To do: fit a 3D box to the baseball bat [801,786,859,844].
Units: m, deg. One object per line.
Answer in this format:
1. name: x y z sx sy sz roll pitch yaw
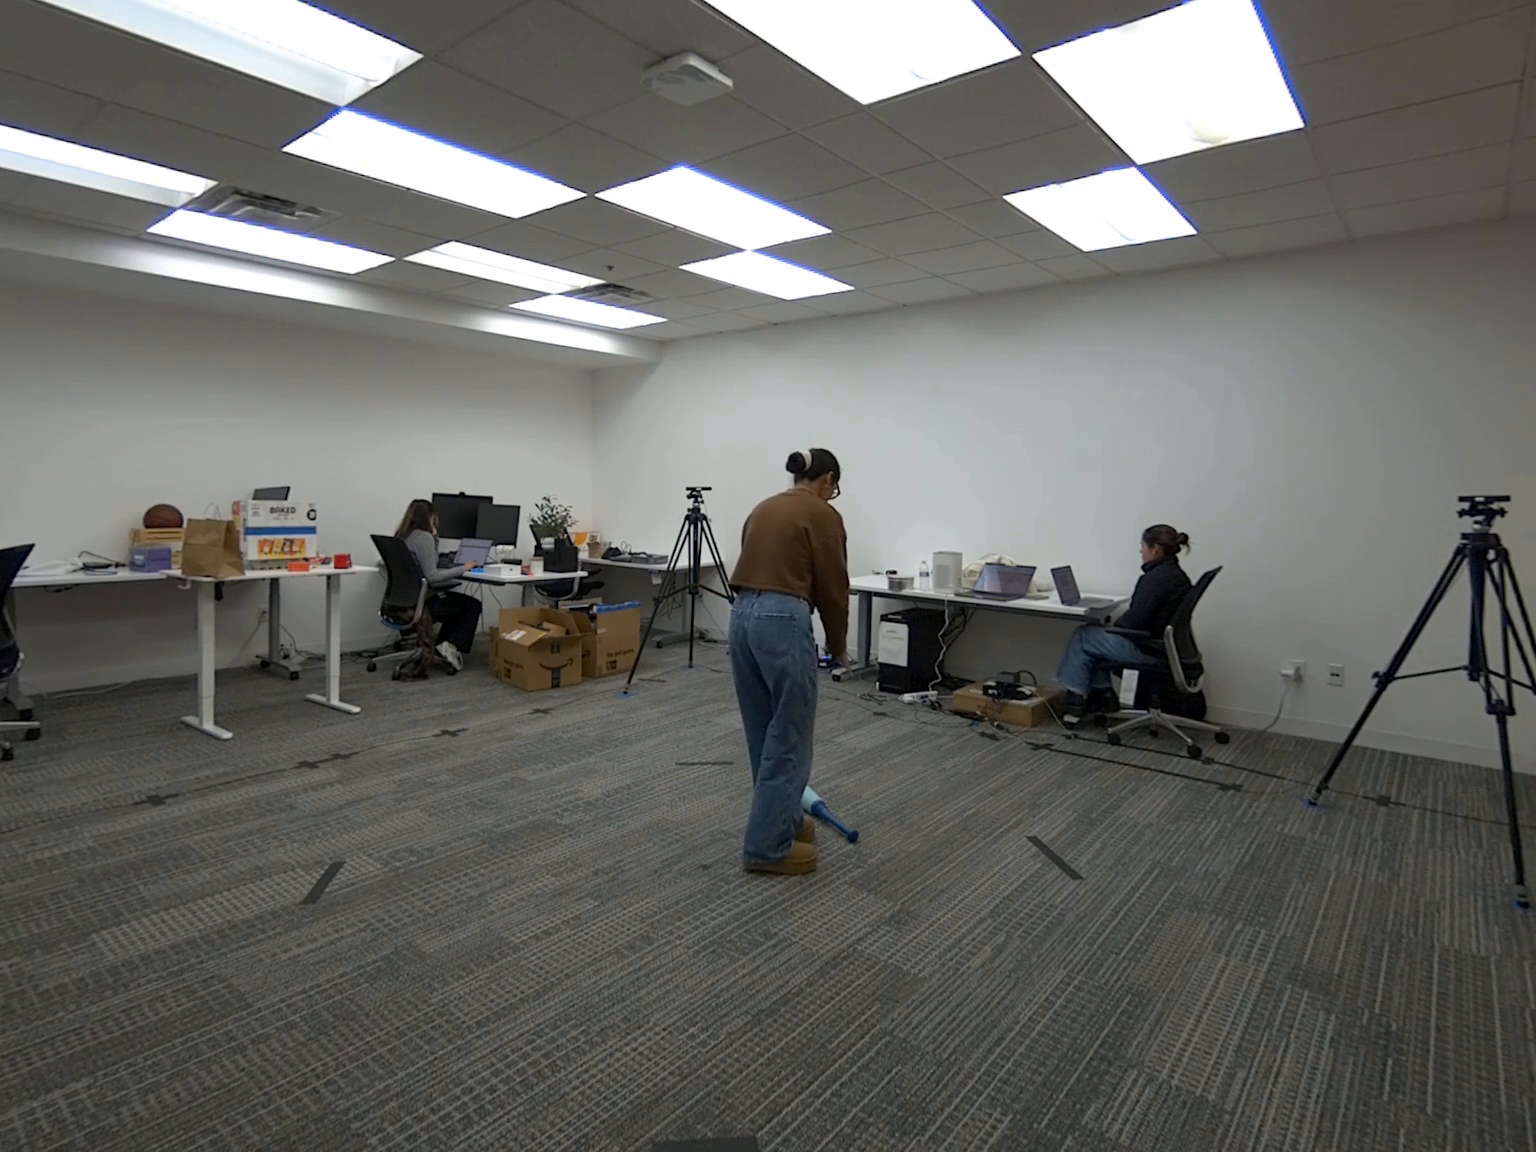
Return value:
1. baseball bat: 0.214 0.987 3.608 0.087 0.088 0.558 -1 8 -24
